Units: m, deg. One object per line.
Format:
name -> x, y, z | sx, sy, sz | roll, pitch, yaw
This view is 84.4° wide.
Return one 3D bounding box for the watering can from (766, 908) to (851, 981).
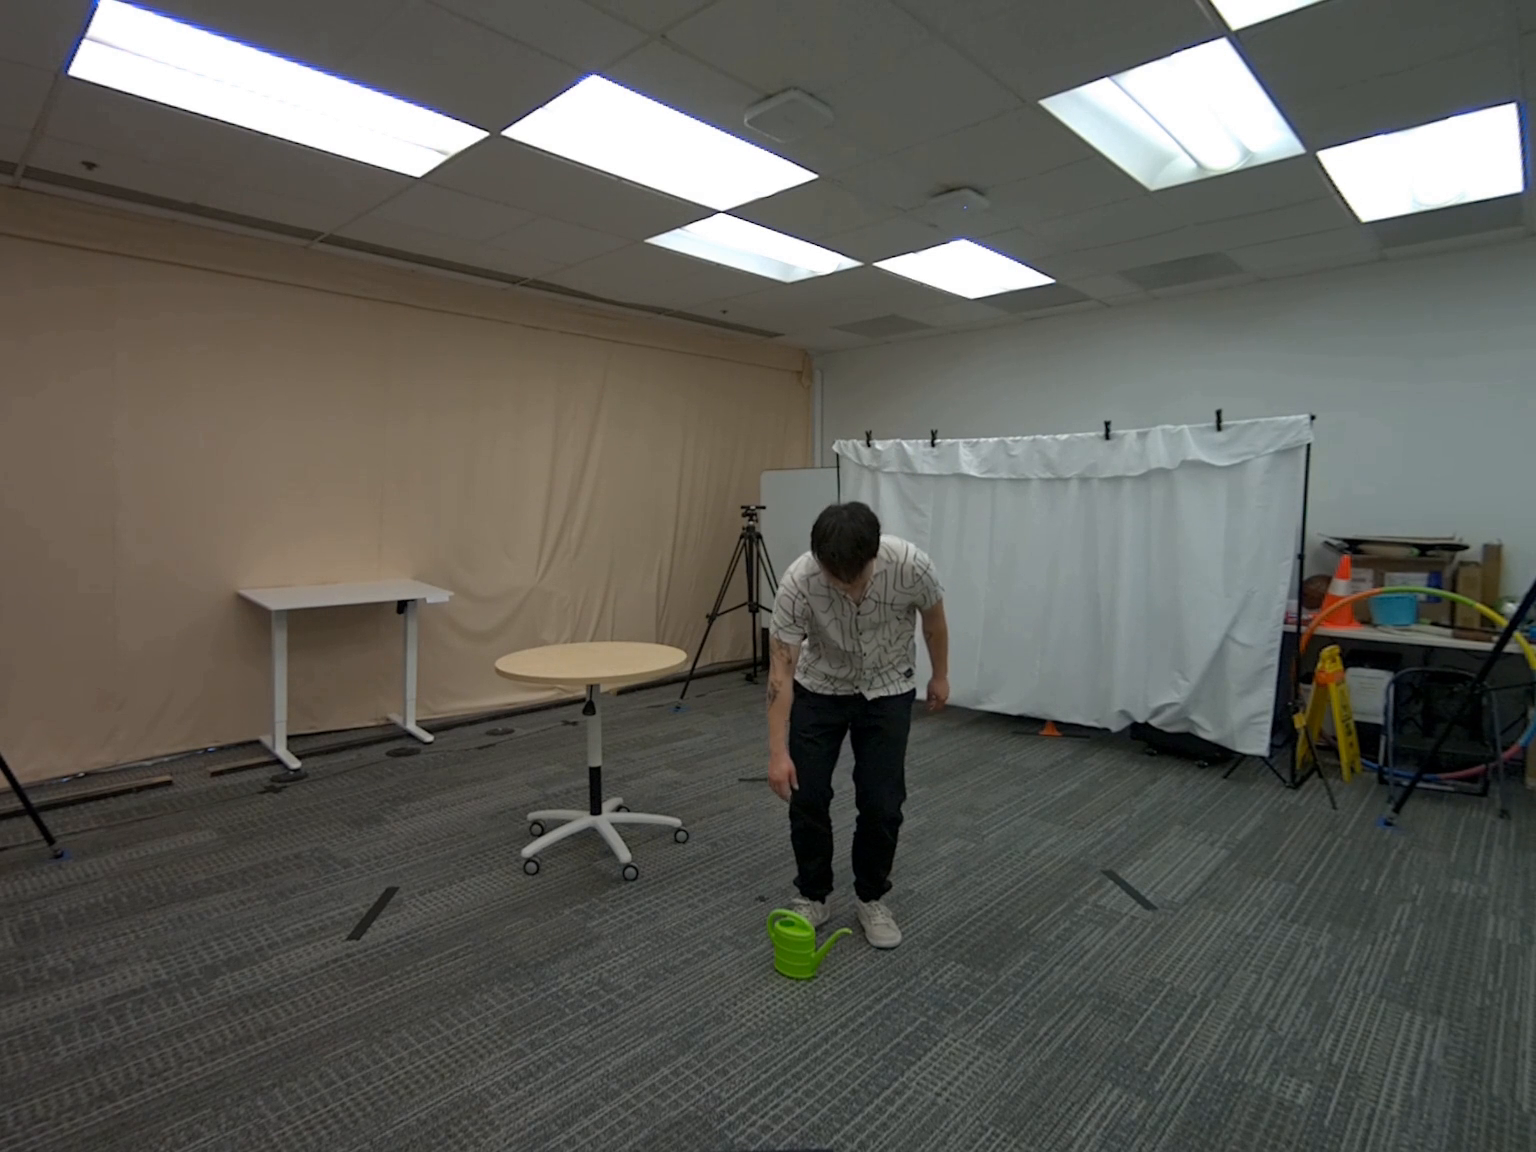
watering can -> 0.118, 1.093, 2.487 | 0.095, 0.176, 0.287 | -4, 6, -45
